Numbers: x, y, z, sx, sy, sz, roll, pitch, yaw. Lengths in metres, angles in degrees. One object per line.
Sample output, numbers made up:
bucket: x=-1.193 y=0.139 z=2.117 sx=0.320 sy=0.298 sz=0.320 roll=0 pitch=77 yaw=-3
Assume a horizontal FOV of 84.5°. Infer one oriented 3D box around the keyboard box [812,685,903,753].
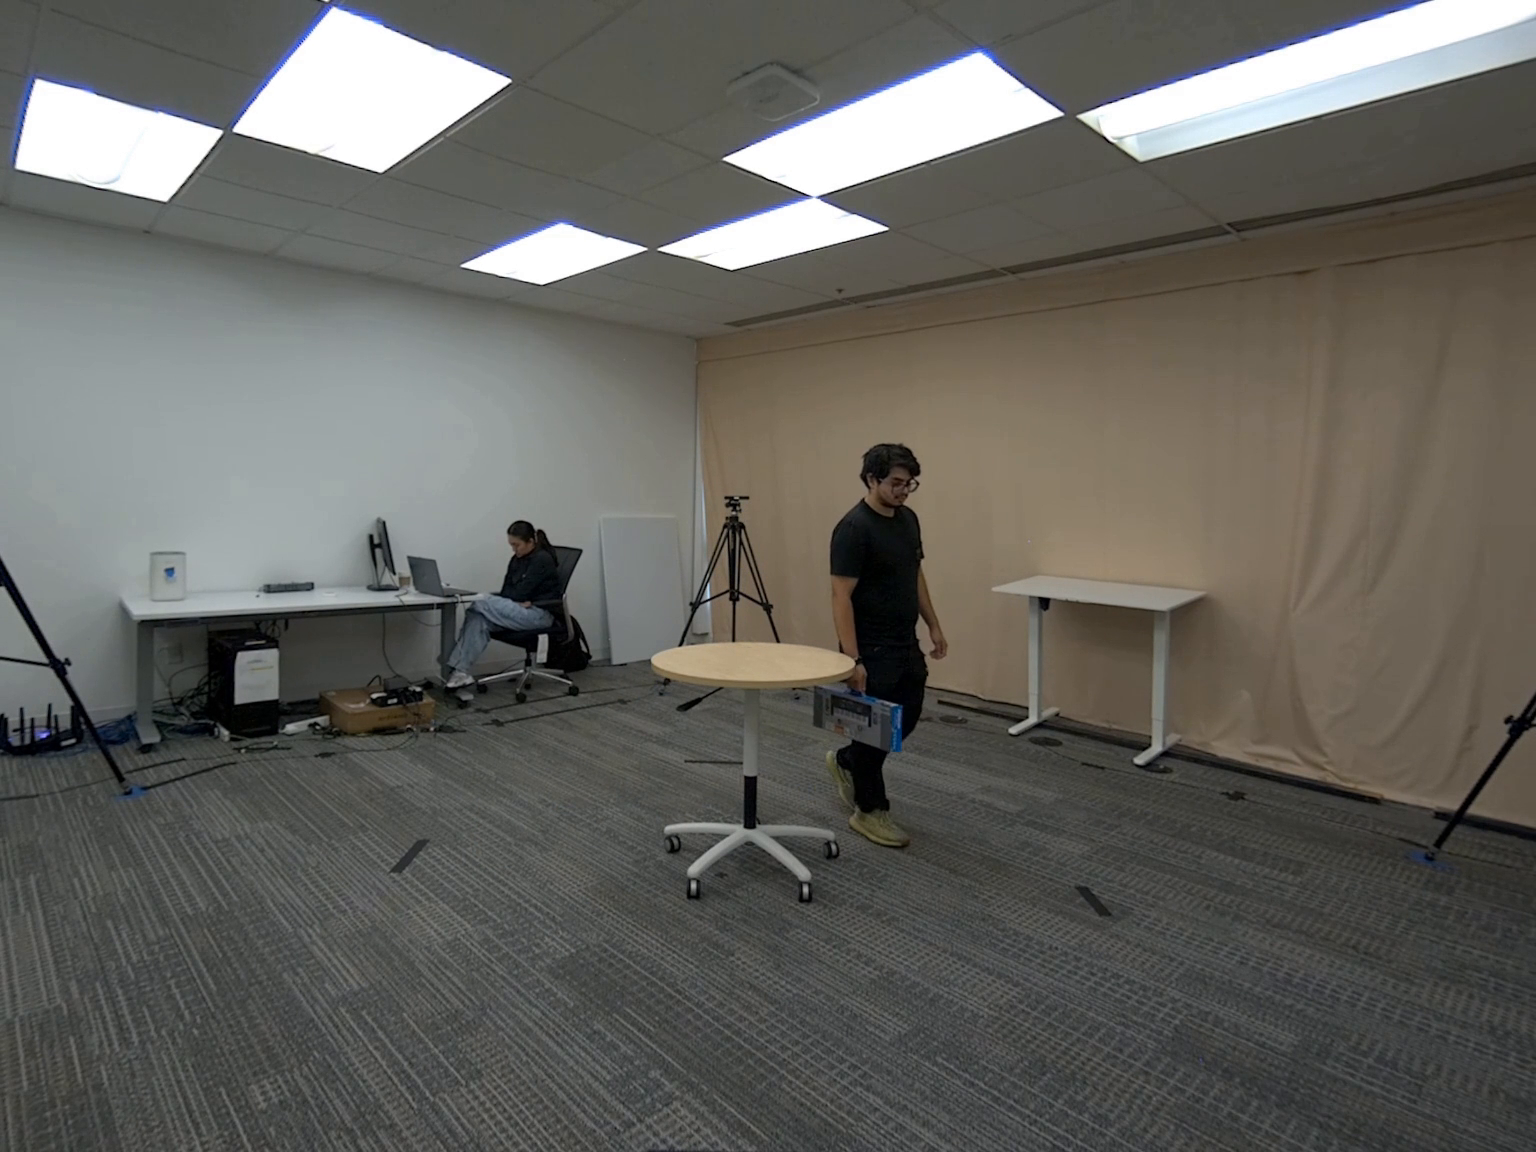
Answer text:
keyboard box: x=0.338 y=0.554 z=3.327 sx=0.058 sy=0.175 sz=0.447 roll=-2 pitch=5 yaw=-37
